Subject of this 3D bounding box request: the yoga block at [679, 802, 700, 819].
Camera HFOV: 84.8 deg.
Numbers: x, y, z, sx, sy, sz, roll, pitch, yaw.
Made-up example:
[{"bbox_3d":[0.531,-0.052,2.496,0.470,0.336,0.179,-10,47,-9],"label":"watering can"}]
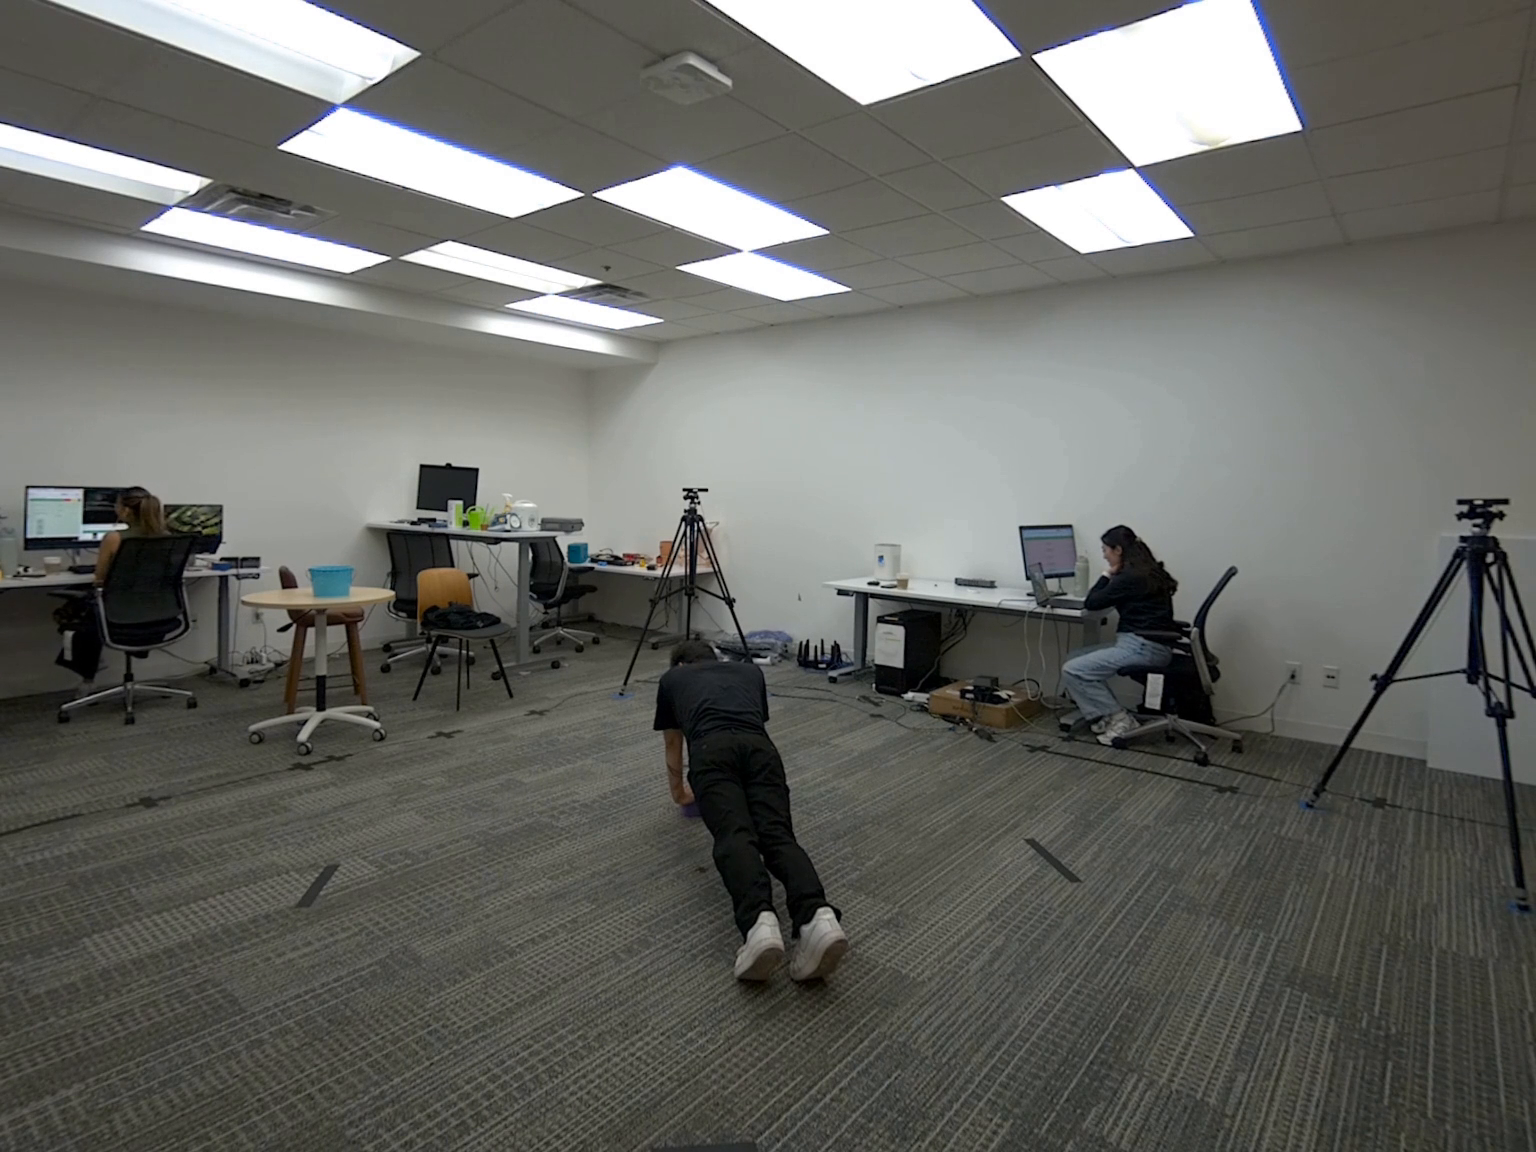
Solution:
[{"bbox_3d":[-0.270,0.970,3.686,0.226,0.076,0.152,-1,6,-13],"label":"yoga block"}]
